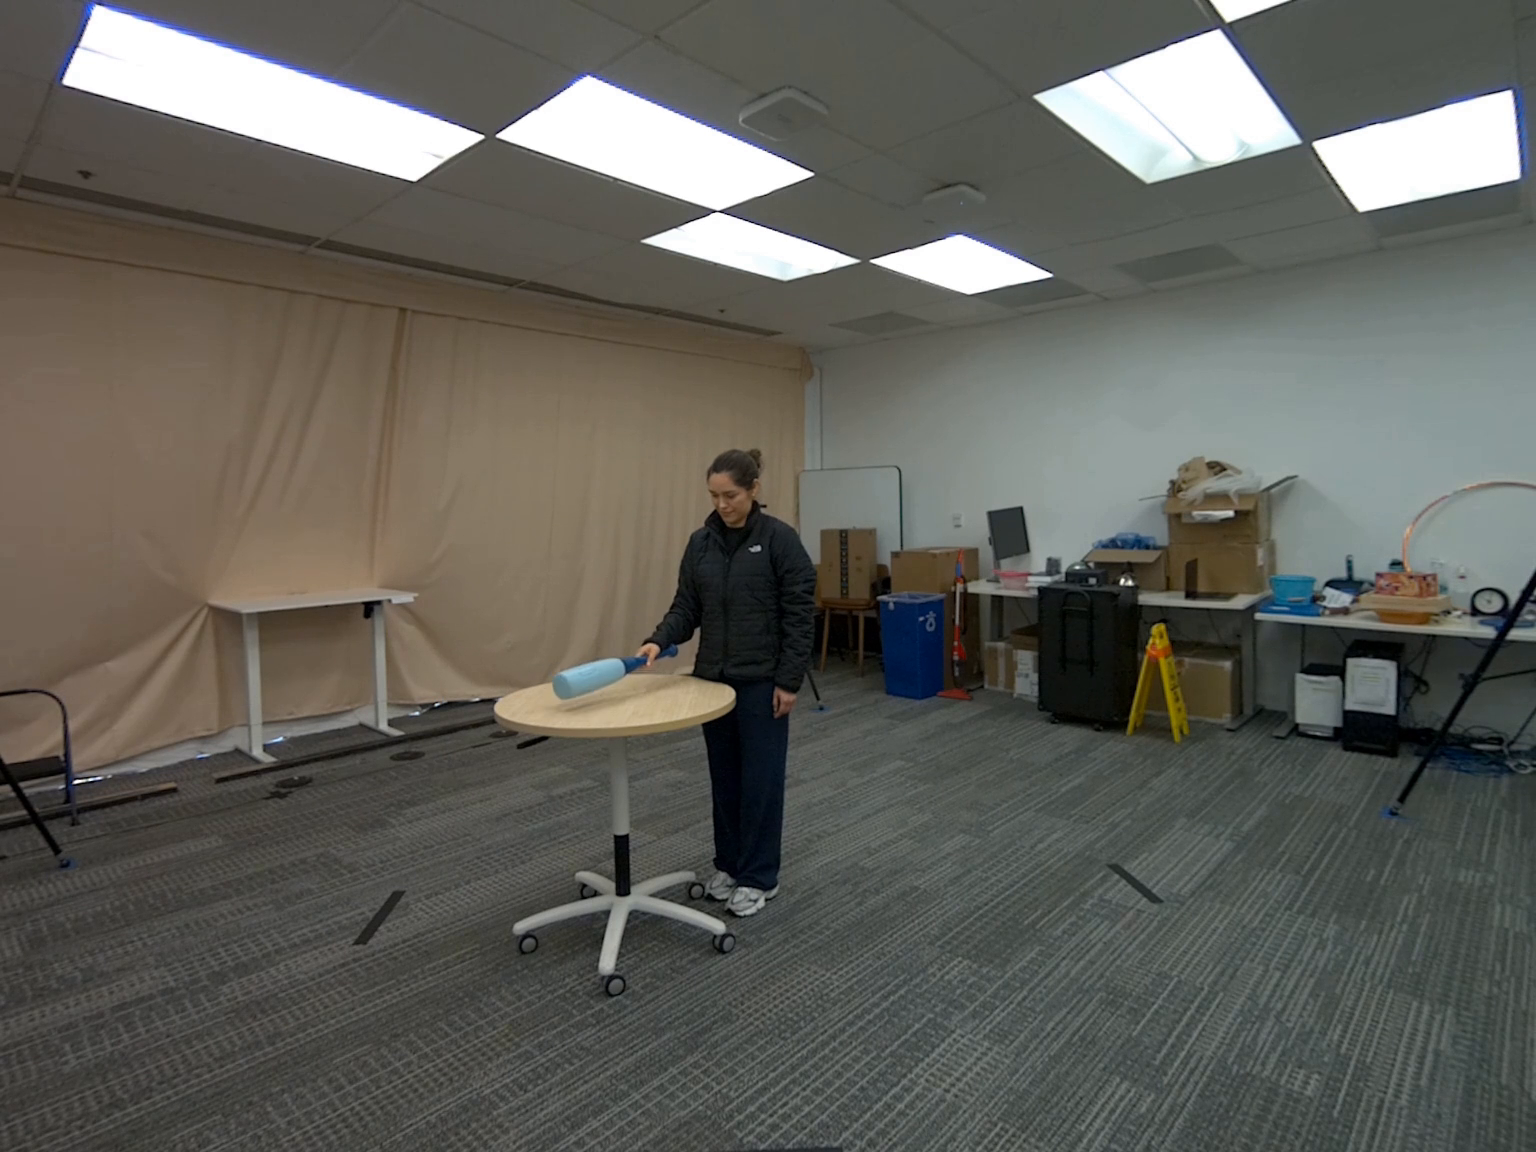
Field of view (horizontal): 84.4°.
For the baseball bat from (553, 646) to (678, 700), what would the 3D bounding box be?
[{"bbox_3d":[-0.463,0.293,2.714,0.092,0.088,0.529,2,8,34],"label":"baseball bat"}]
